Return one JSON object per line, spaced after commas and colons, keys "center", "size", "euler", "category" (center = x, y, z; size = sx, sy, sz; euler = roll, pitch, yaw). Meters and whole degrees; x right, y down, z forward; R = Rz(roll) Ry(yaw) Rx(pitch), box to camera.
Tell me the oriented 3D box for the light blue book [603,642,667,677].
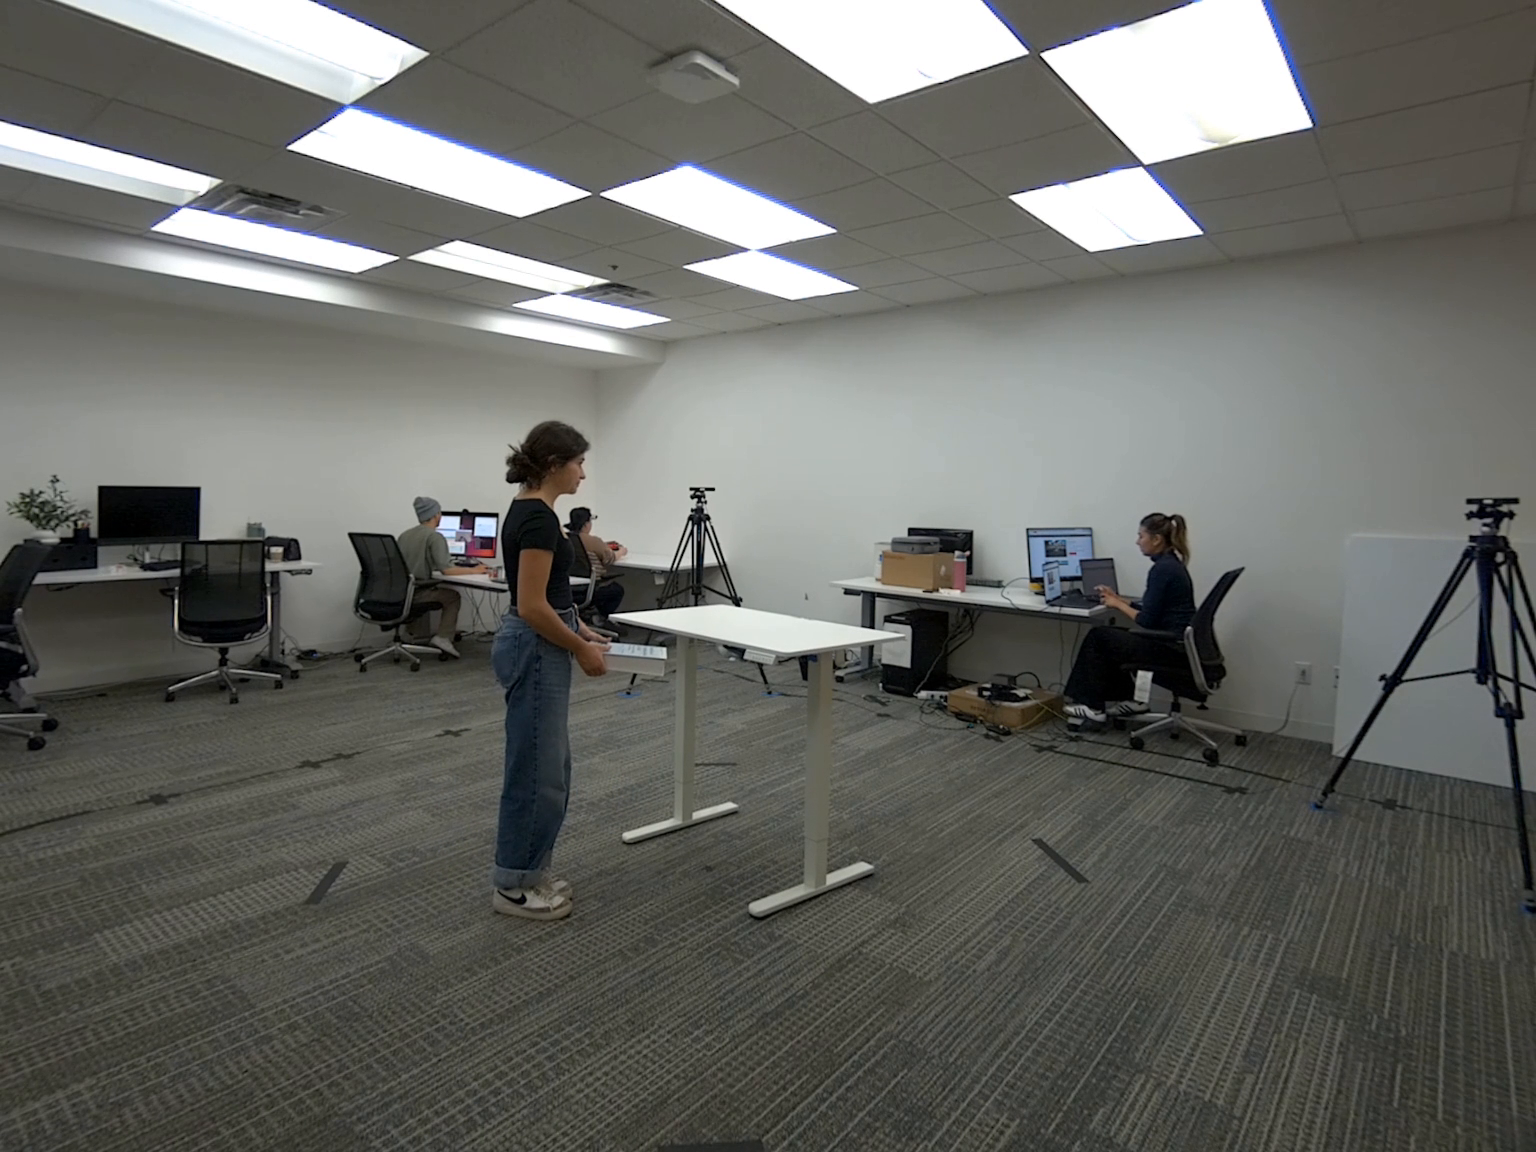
{"center": [-0.485, 0.278, 2.848], "size": [0.259, 0.059, 0.194], "euler": [4, 7, -8], "category": "light blue book"}
